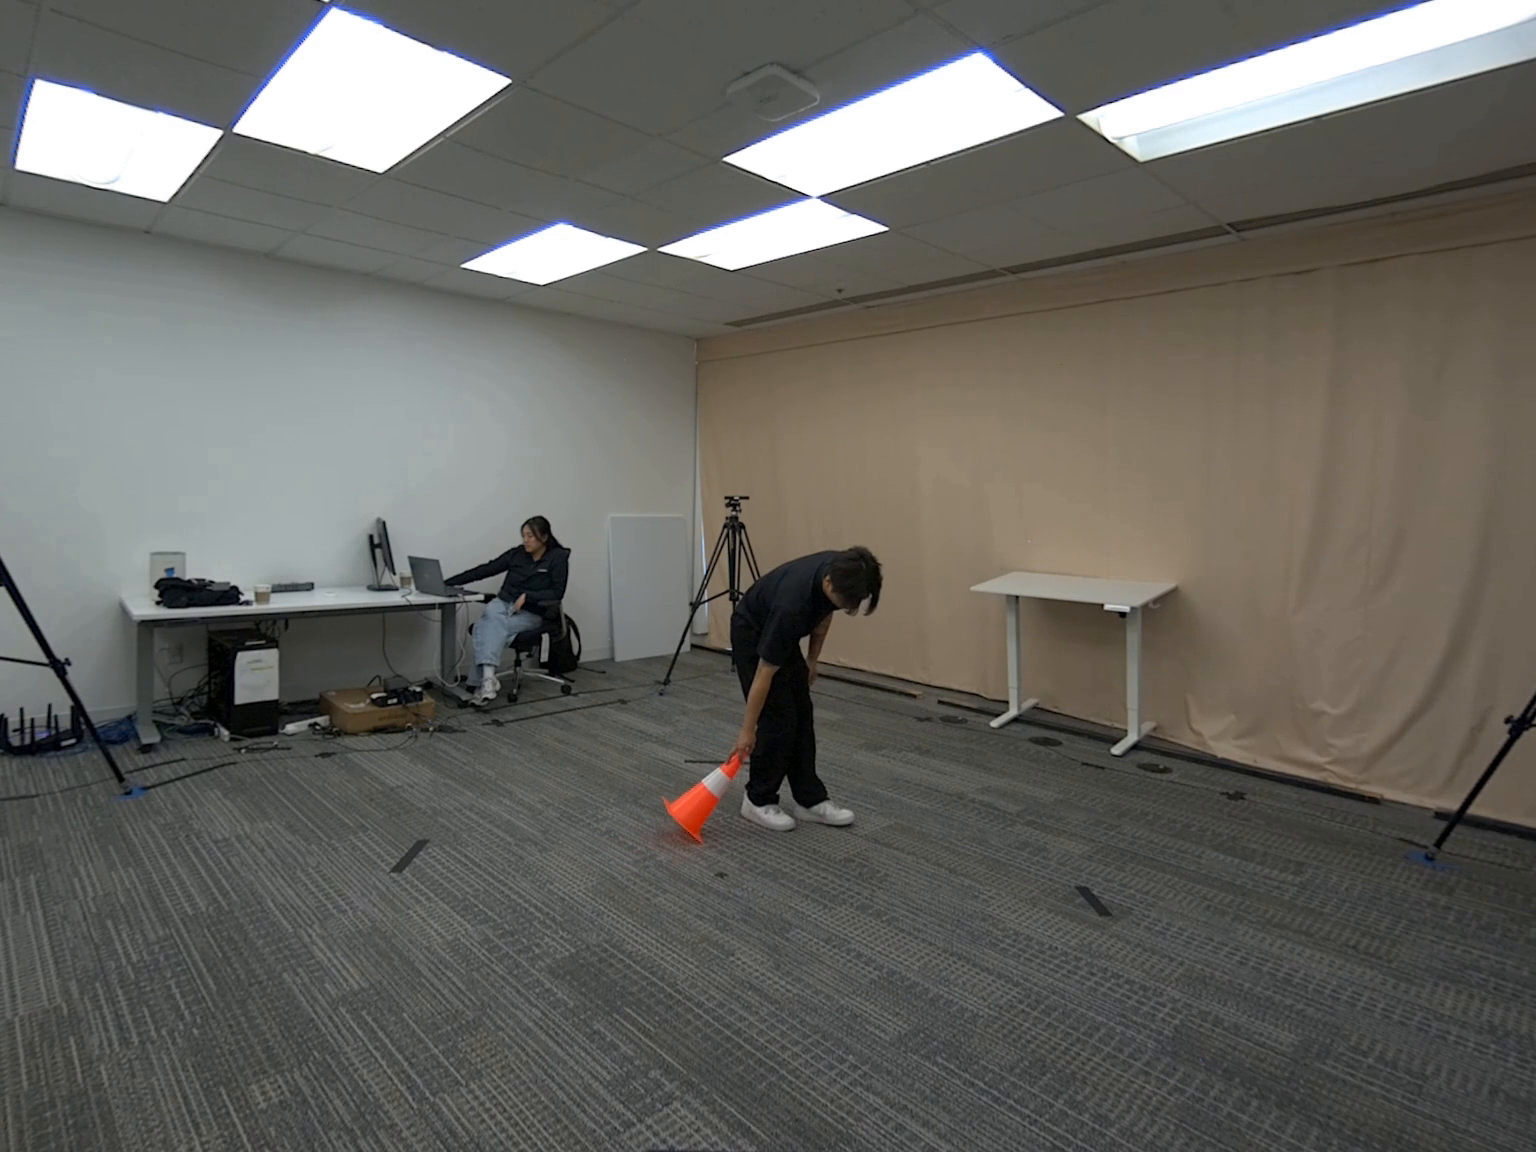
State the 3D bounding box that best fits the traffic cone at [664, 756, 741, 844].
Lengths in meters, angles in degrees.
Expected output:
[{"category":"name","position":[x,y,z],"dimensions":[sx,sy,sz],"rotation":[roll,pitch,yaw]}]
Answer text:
[{"category":"traffic cone","position":[-0.234,0.865,3.472],"dimensions":[0.203,0.383,0.205],"rotation":[44,-4,-10]}]
